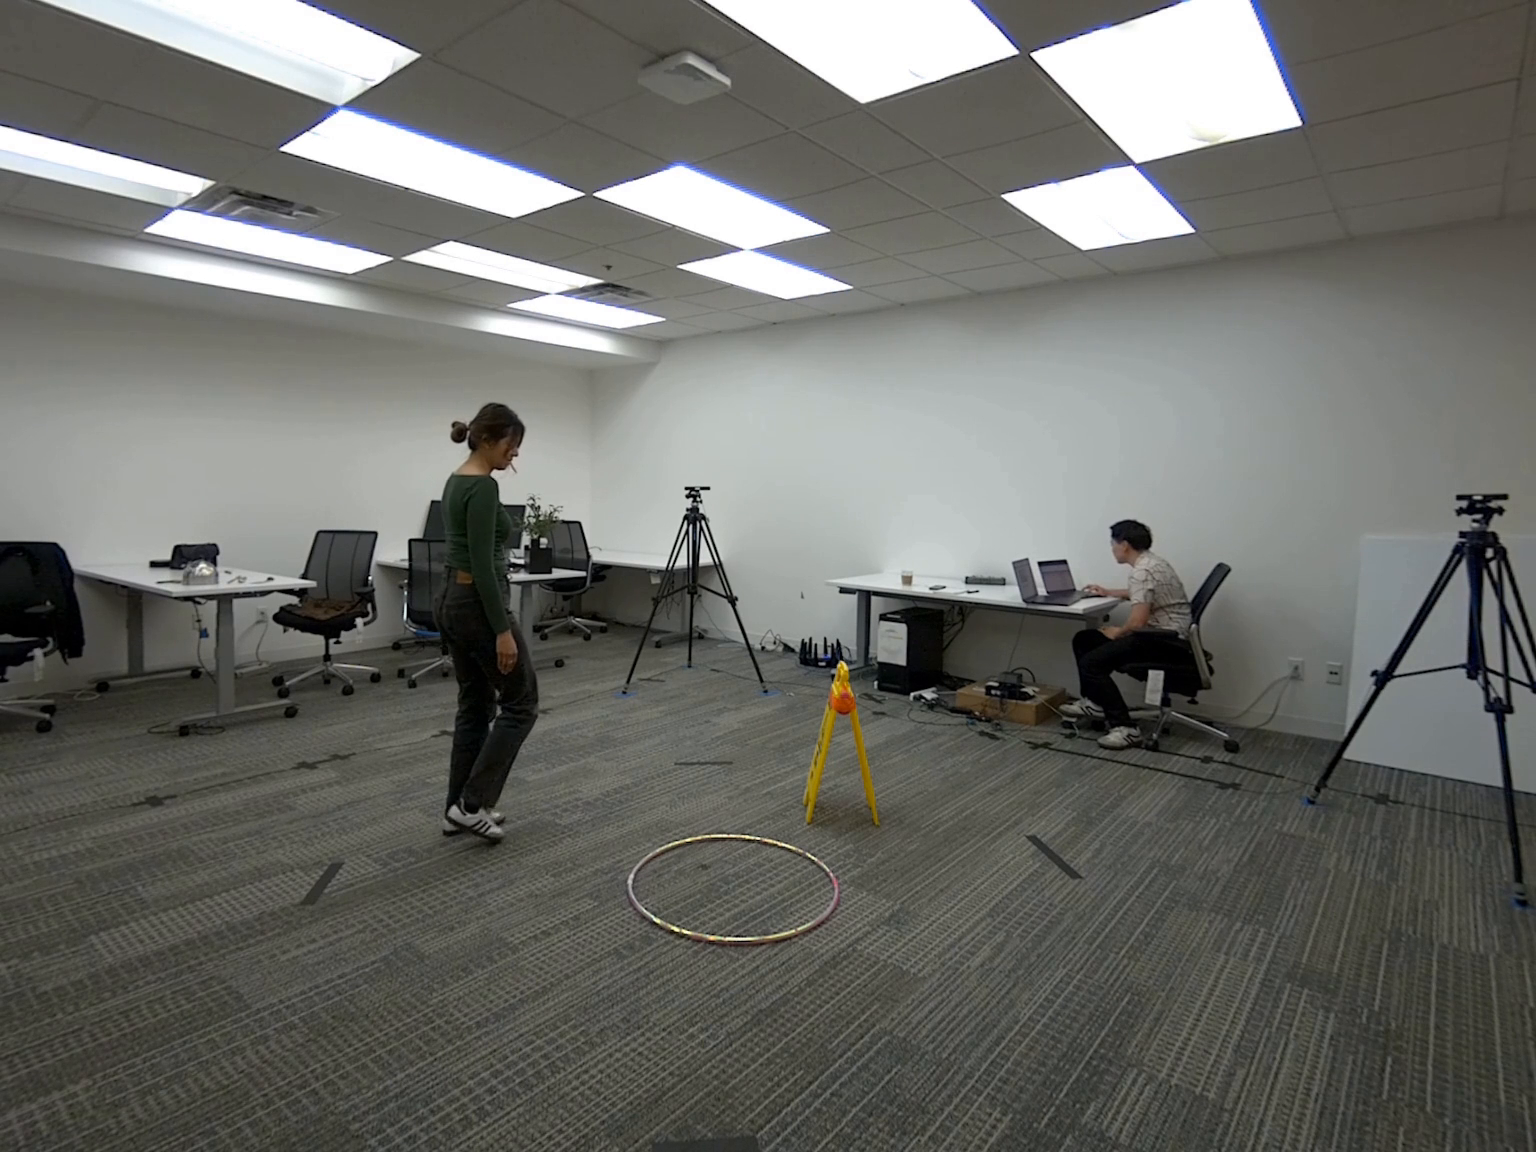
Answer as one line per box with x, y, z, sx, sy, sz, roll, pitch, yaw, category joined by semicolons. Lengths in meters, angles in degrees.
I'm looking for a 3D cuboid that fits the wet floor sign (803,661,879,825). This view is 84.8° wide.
0.306;0.699;3.644;0.290;0.644;0.283;1;4;1;wet floor sign
